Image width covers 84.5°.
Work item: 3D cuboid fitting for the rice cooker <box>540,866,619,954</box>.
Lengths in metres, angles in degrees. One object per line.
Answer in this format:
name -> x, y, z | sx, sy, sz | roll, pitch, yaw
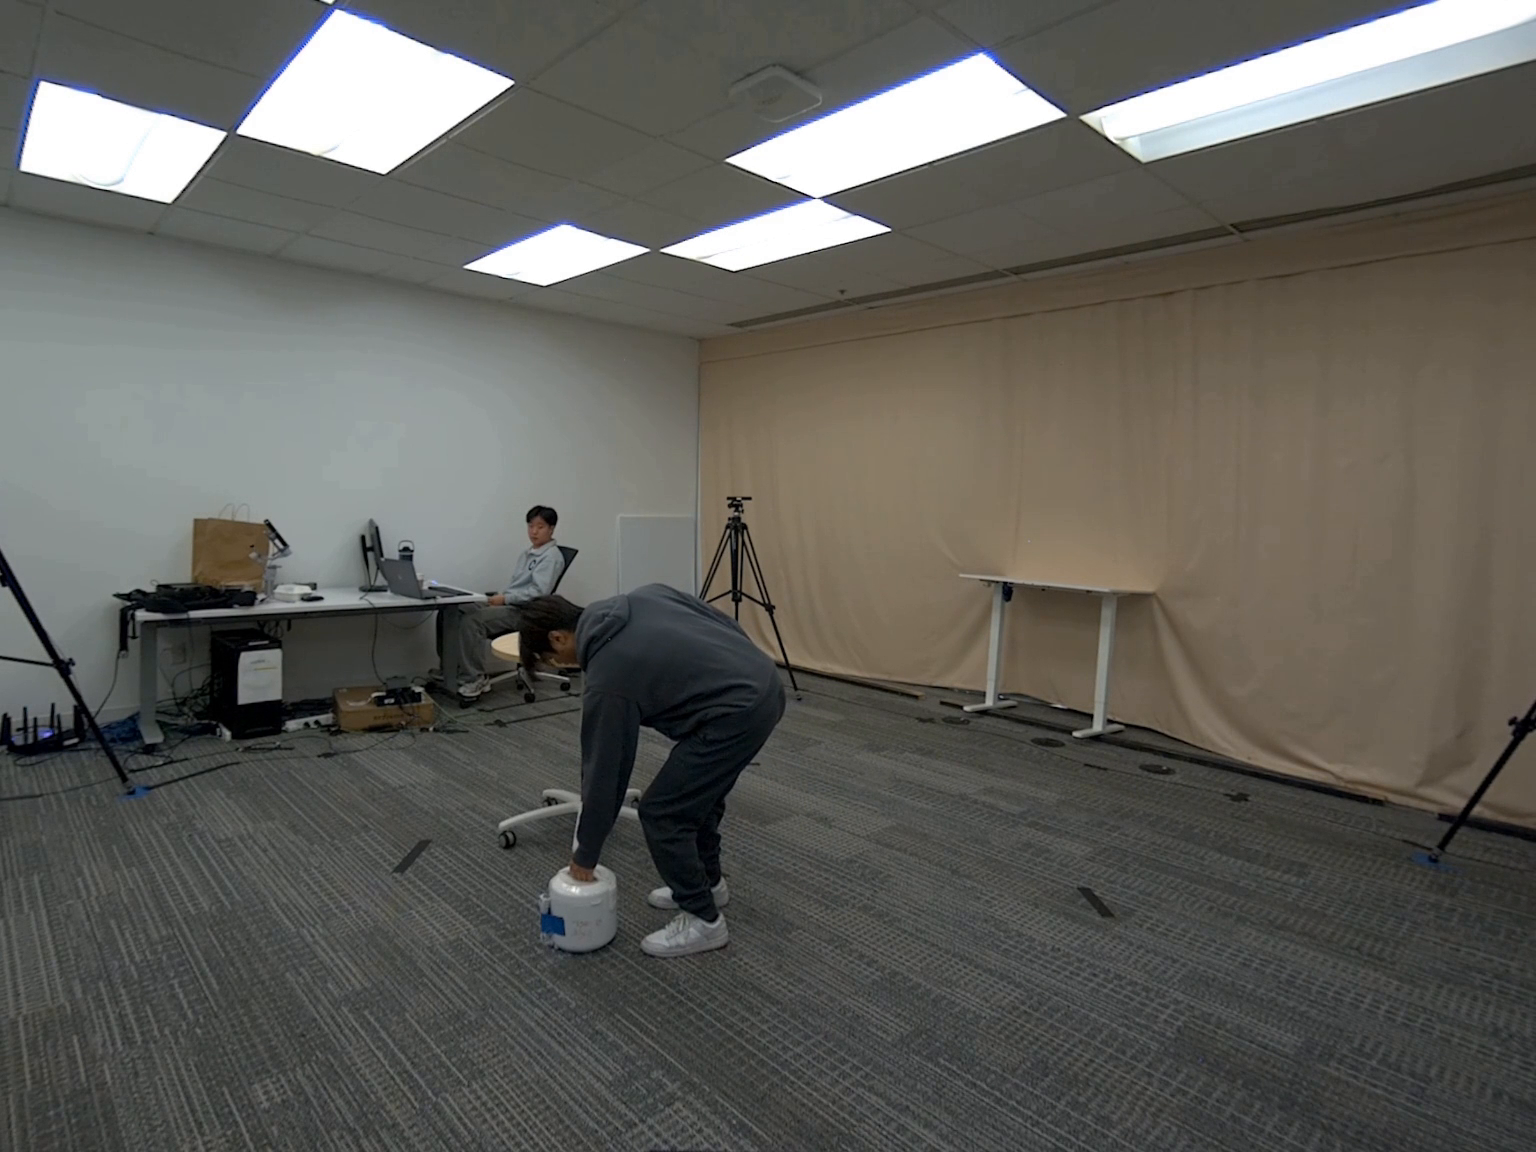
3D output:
rice cooker -> -0.581, 1.021, 2.637 | 0.224, 0.232, 0.214 | 3, 4, 20
